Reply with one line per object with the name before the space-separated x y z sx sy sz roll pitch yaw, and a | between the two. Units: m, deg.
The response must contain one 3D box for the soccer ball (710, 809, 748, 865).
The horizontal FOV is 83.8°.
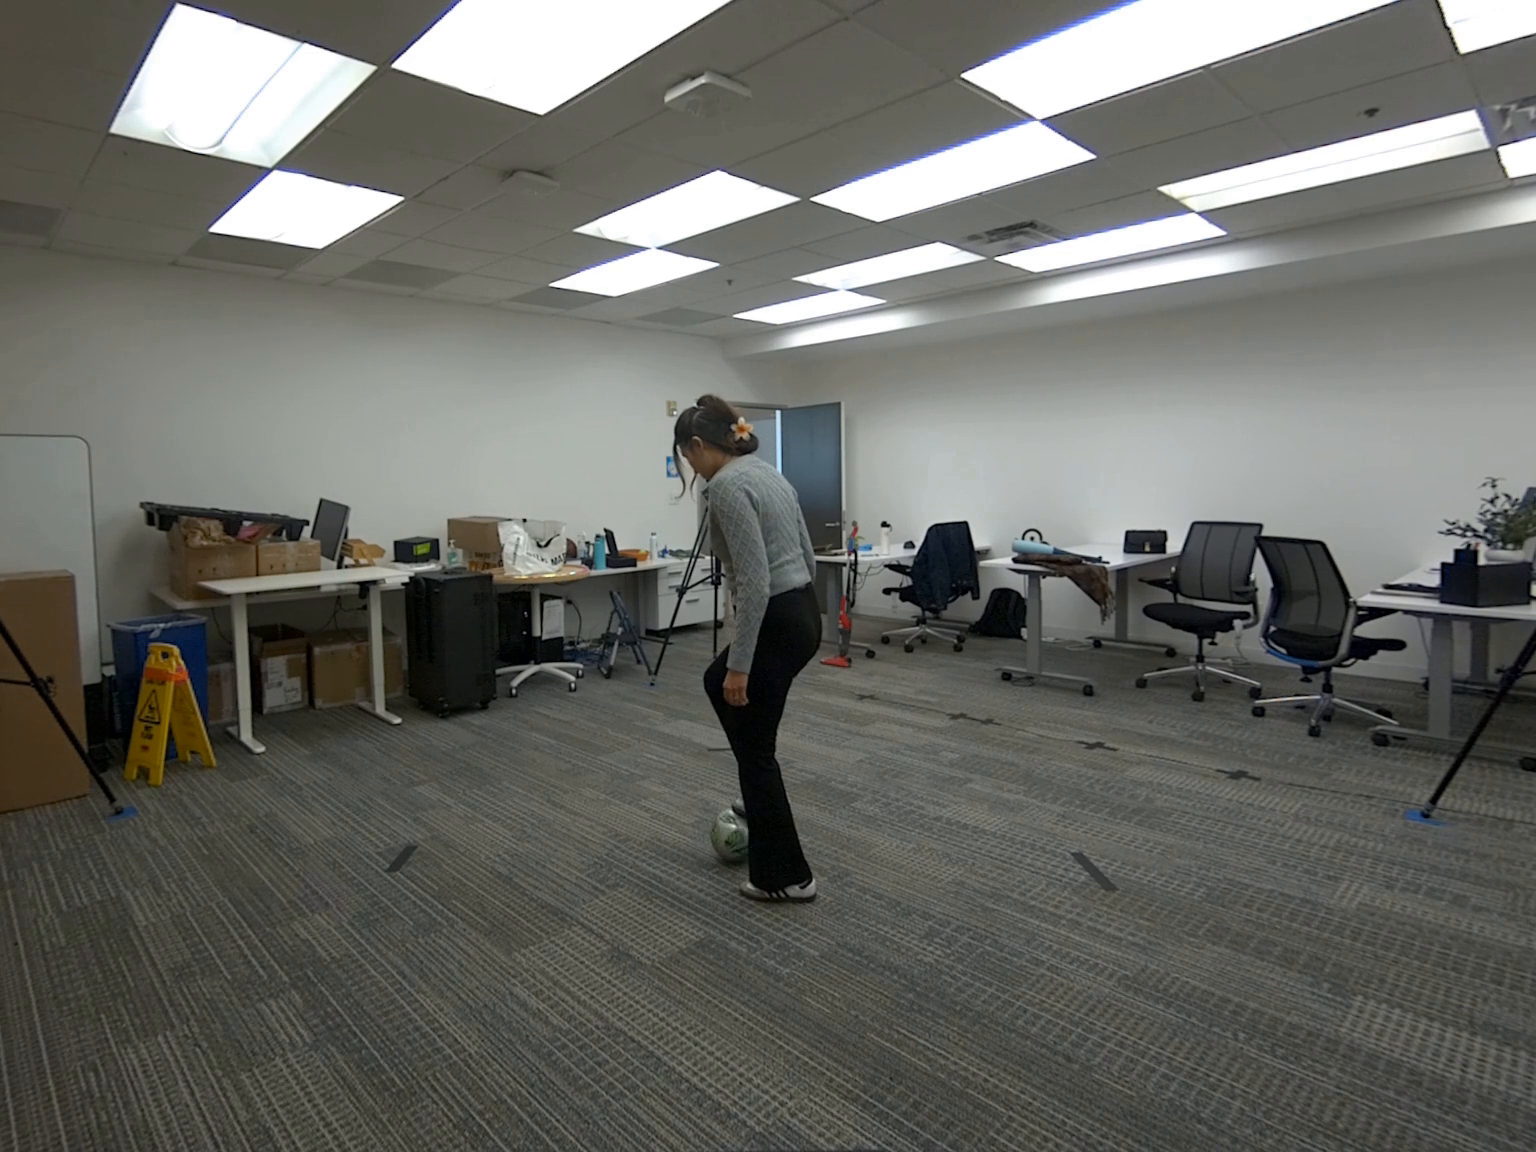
soccer ball | -0.137 0.947 3.151 0.187 0.187 0.188 -1 5 -2
